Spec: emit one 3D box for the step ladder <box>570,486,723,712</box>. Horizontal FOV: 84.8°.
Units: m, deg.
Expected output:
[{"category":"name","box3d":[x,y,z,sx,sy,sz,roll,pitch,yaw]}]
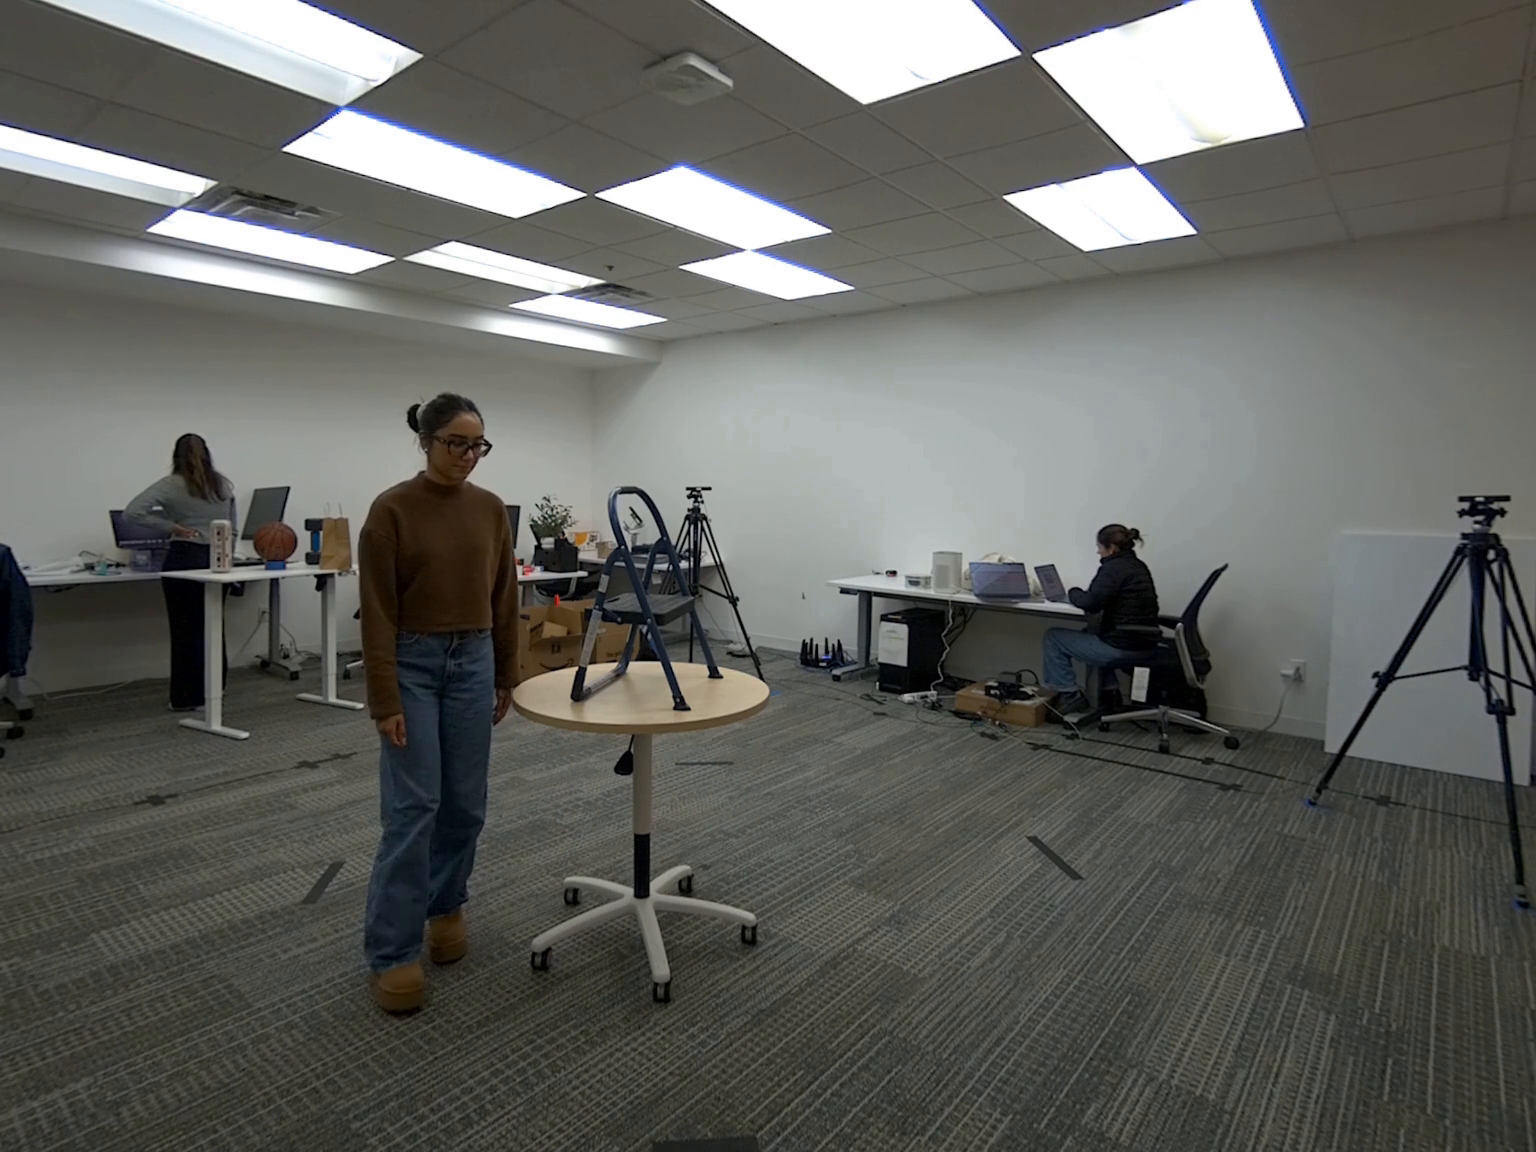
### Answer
[{"category":"step ladder","box3d":[-0.363,0.040,2.535,0.354,0.604,0.426,2,4,12]}]
